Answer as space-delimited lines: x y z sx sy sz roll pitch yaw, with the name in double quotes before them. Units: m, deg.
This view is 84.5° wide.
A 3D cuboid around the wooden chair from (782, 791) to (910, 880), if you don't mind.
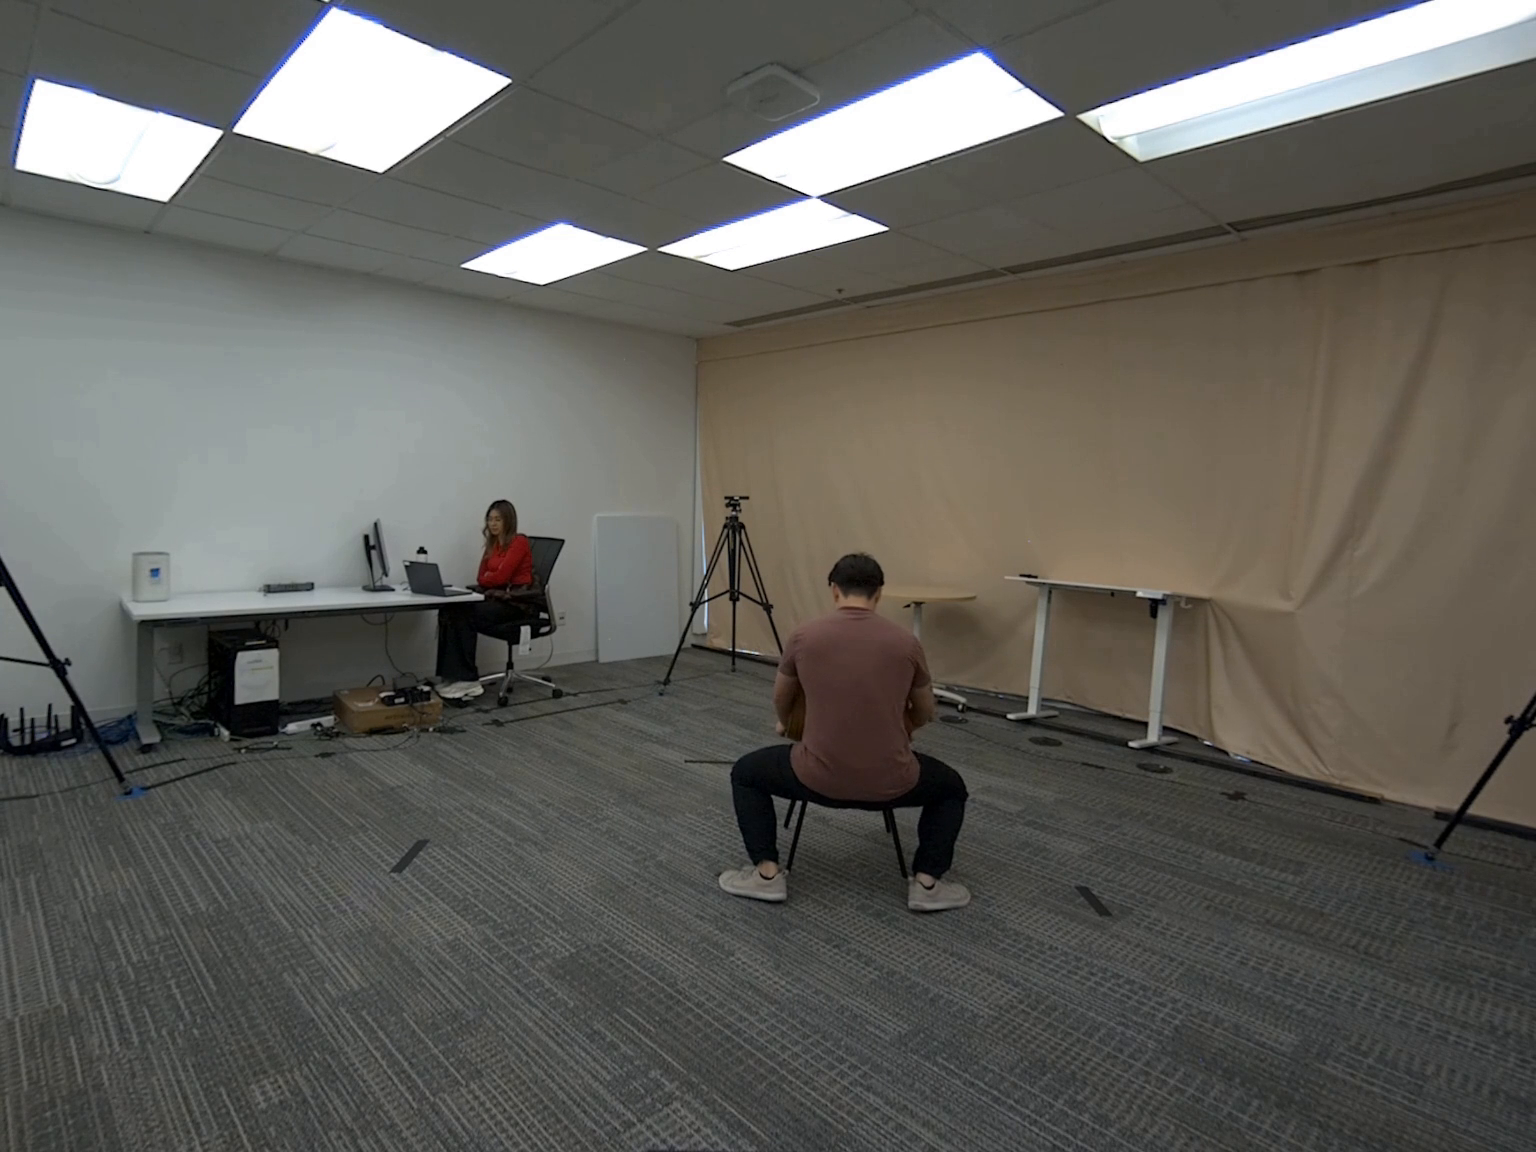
"wooden chair" 0.295 0.670 3.332 0.479 0.873 0.524 1 7 2
